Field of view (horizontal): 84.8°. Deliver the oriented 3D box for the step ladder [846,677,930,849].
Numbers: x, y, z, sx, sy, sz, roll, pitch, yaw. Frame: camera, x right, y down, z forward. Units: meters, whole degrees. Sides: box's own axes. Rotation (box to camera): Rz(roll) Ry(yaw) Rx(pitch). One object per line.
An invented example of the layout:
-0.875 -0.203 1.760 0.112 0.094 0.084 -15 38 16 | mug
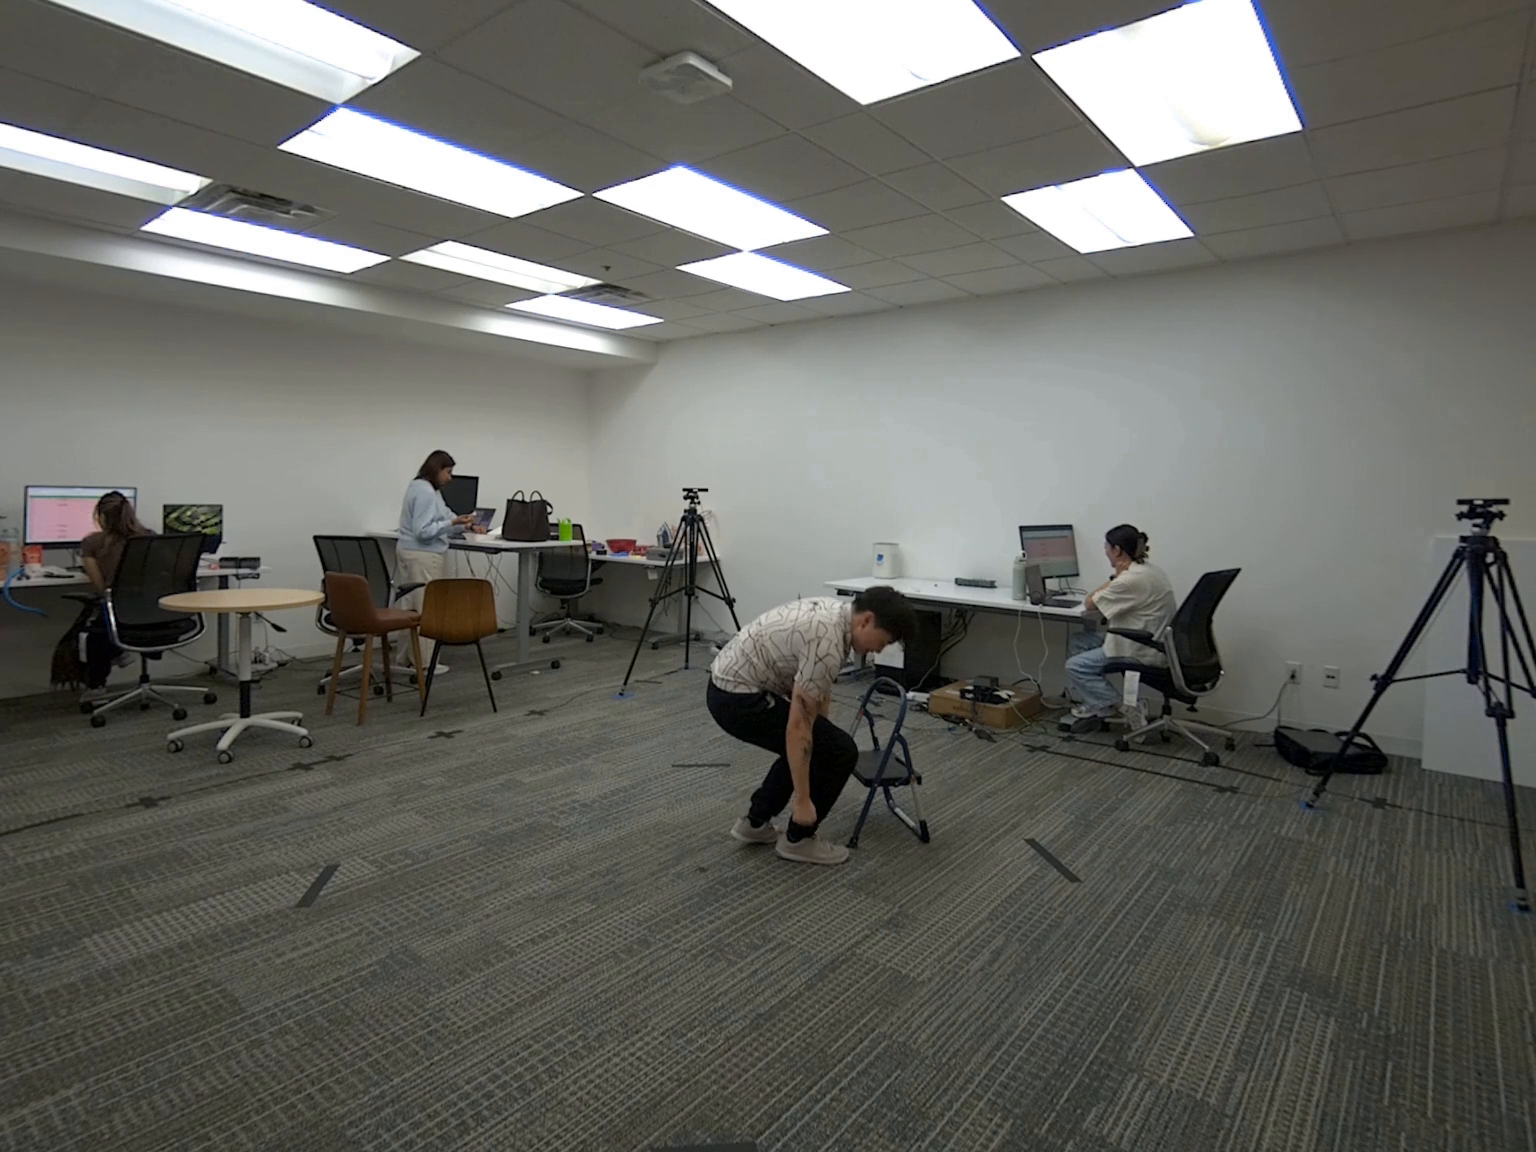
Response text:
0.436 0.739 3.552 0.345 0.604 0.437 0 3 -13 | step ladder
